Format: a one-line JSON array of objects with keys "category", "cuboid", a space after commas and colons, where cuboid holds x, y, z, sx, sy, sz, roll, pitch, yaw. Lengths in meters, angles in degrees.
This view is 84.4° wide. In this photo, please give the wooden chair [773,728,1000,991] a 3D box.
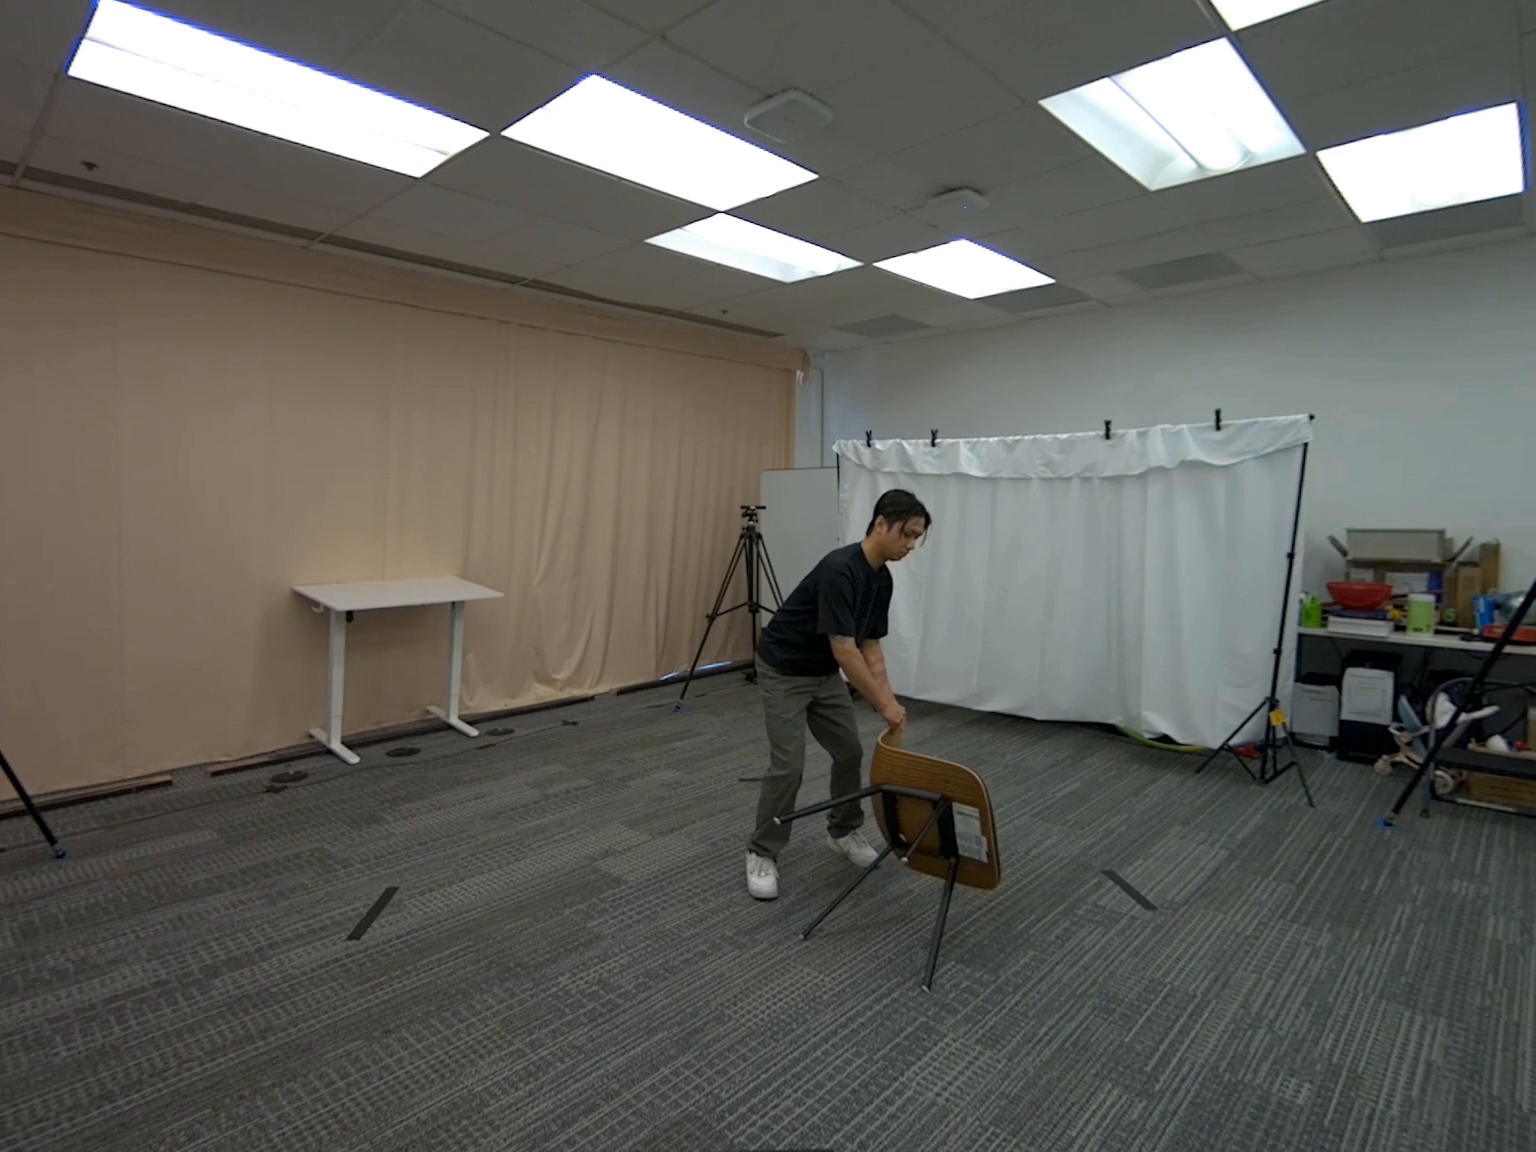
[{"category": "wooden chair", "cuboid": [0.505, 0.824, 2.786, 0.539, 0.472, 0.862, 0, 20, 35]}]
